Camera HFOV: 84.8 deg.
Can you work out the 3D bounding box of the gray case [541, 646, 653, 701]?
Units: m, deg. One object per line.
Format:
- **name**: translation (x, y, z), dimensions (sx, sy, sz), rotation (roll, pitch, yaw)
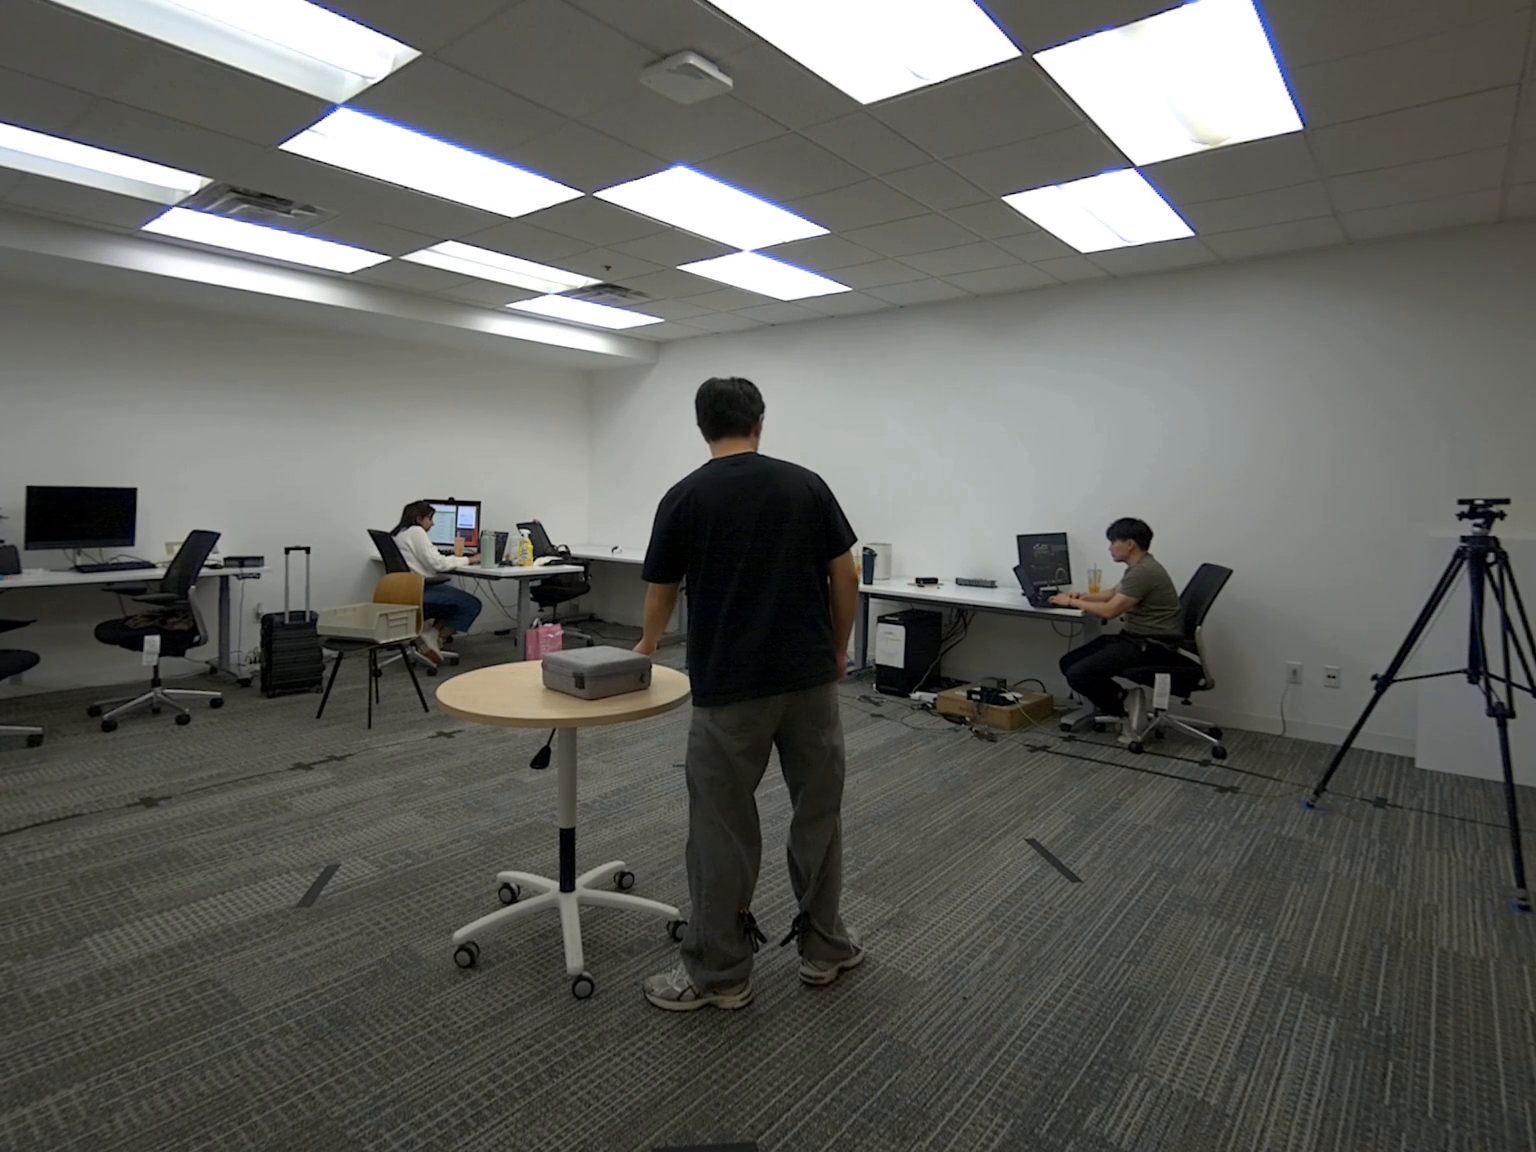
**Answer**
- **gray case**: translation (-0.520, 0.283, 2.569), dimensions (0.272, 0.103, 0.278), rotation (6, 7, 43)
